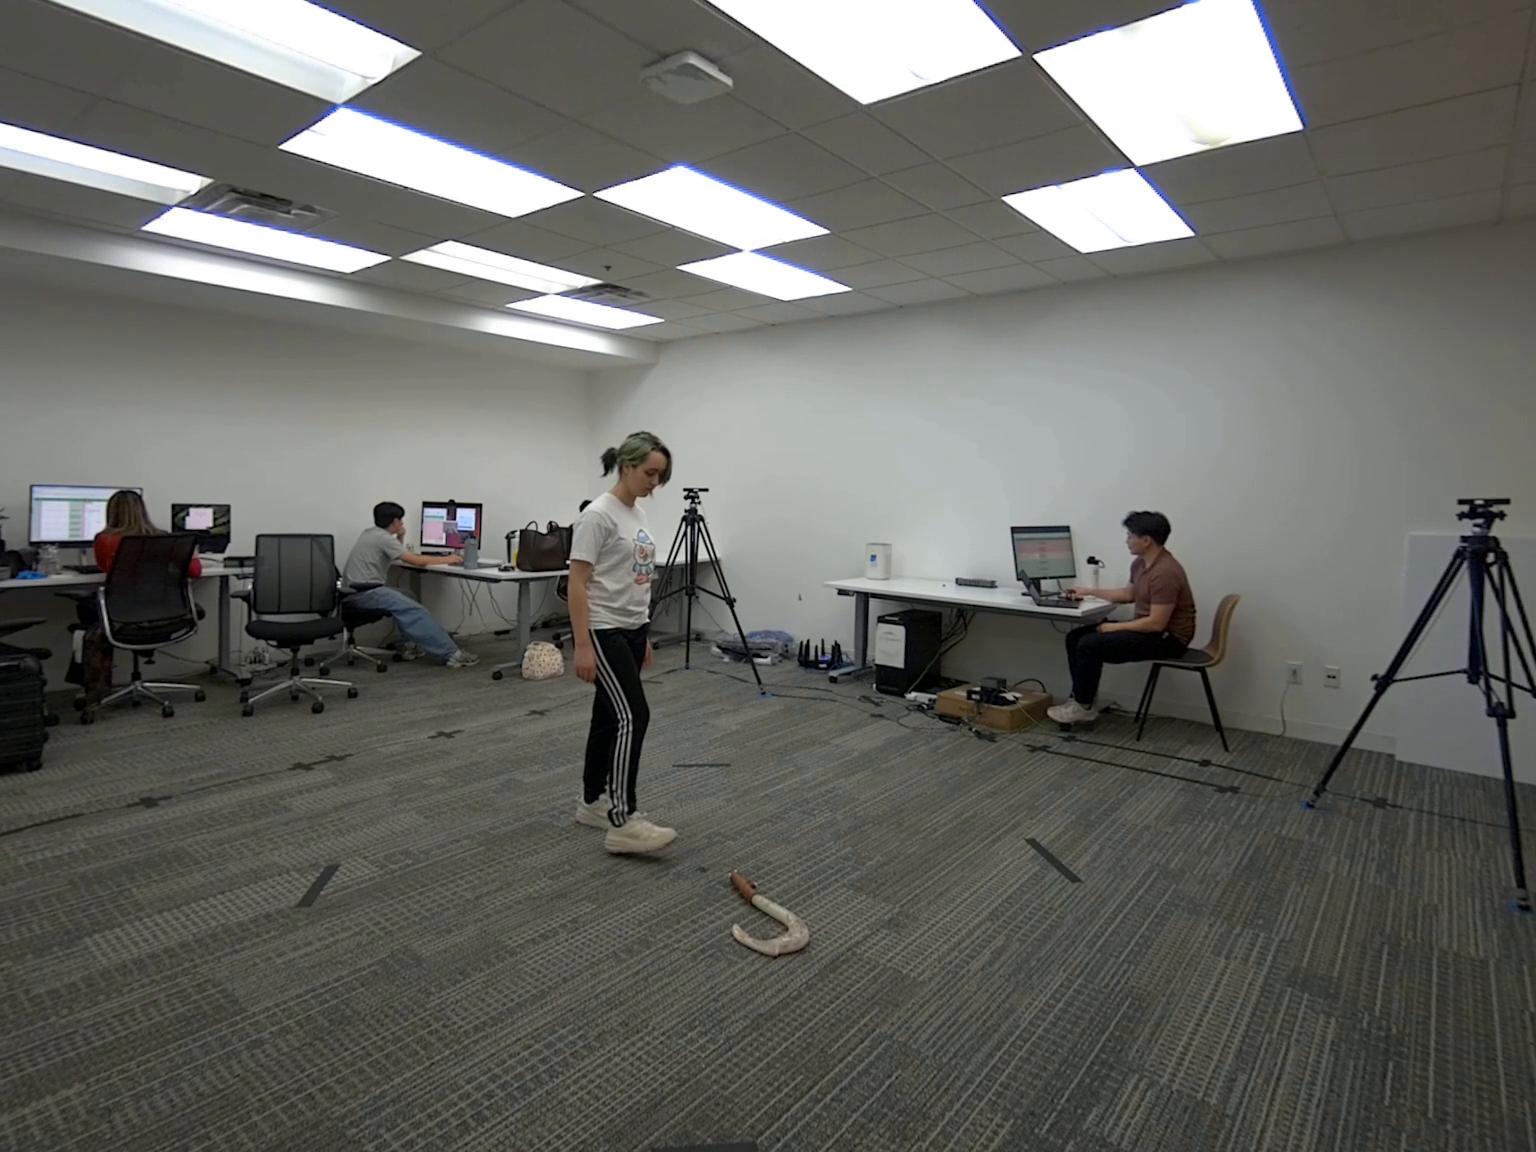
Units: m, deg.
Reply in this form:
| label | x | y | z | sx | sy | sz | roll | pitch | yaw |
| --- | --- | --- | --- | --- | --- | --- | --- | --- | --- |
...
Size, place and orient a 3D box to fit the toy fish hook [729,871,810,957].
| label | x | y | z | sx | sy | sz | roll | pitch | yaw |
| --- | --- | --- | --- | --- | --- | --- | --- | --- | --- |
| toy fish hook | -0.063 | 1.081 | 2.765 | 0.219 | 0.048 | 0.521 | -1 | 5 | -27 |
